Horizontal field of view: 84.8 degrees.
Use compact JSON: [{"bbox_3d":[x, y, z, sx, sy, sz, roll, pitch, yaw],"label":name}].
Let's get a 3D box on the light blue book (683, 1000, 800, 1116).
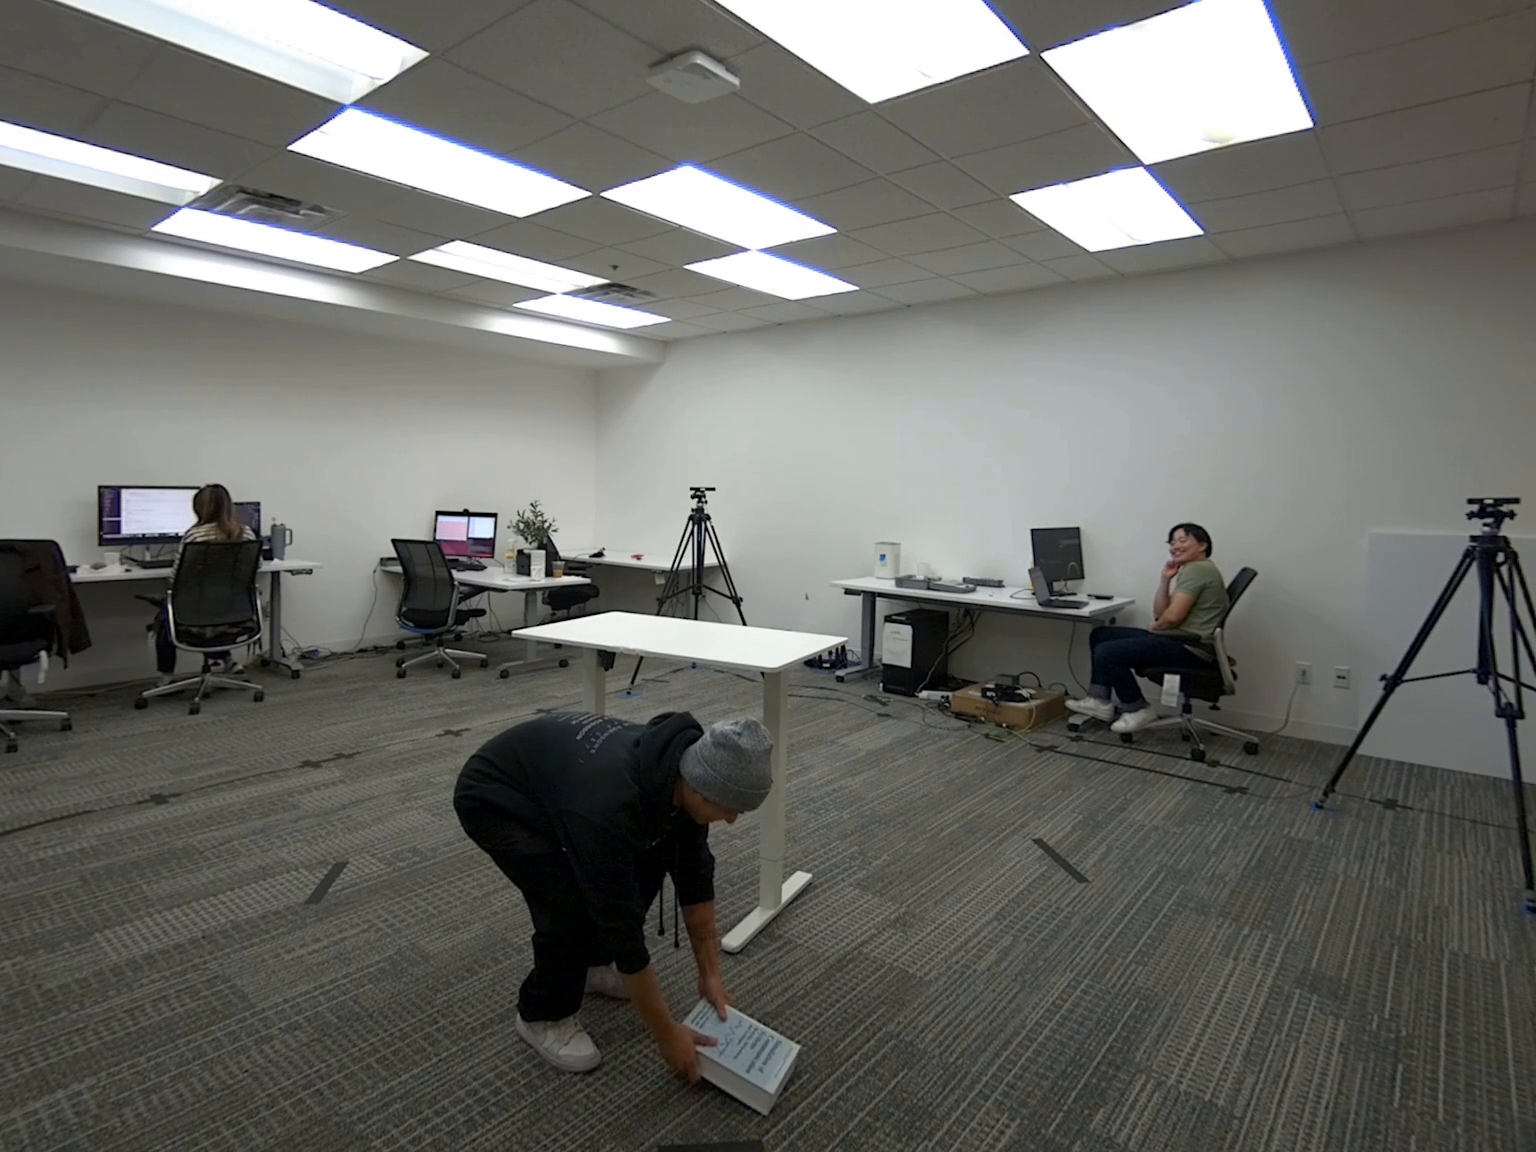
[{"bbox_3d":[-0.078,1.122,2.015,0.268,0.058,0.187,16,11,23],"label":"light blue book"}]
